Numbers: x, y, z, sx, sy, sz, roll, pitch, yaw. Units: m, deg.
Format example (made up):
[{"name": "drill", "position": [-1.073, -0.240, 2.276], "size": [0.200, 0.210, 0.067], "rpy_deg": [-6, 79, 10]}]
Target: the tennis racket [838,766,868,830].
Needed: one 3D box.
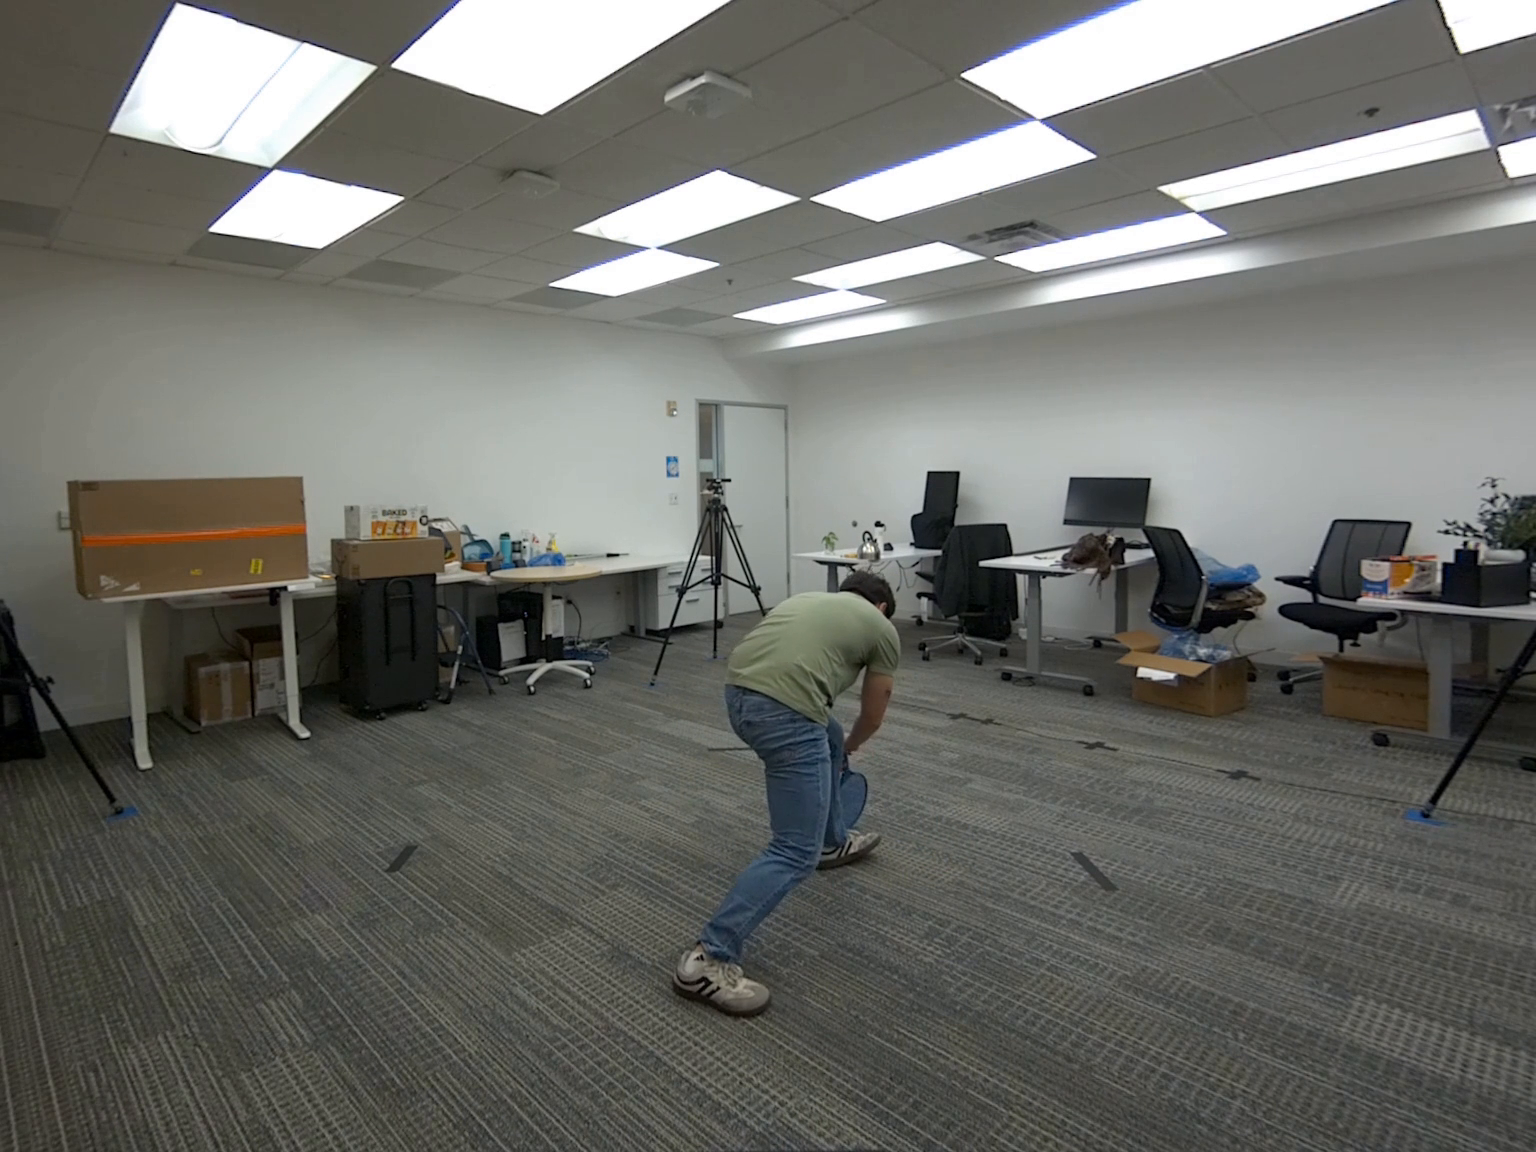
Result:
[{"name": "tennis racket", "position": [0.317, 0.821, 3.311], "size": [0.033, 0.420, 0.212], "rpy_deg": [19, 43, 38]}]
